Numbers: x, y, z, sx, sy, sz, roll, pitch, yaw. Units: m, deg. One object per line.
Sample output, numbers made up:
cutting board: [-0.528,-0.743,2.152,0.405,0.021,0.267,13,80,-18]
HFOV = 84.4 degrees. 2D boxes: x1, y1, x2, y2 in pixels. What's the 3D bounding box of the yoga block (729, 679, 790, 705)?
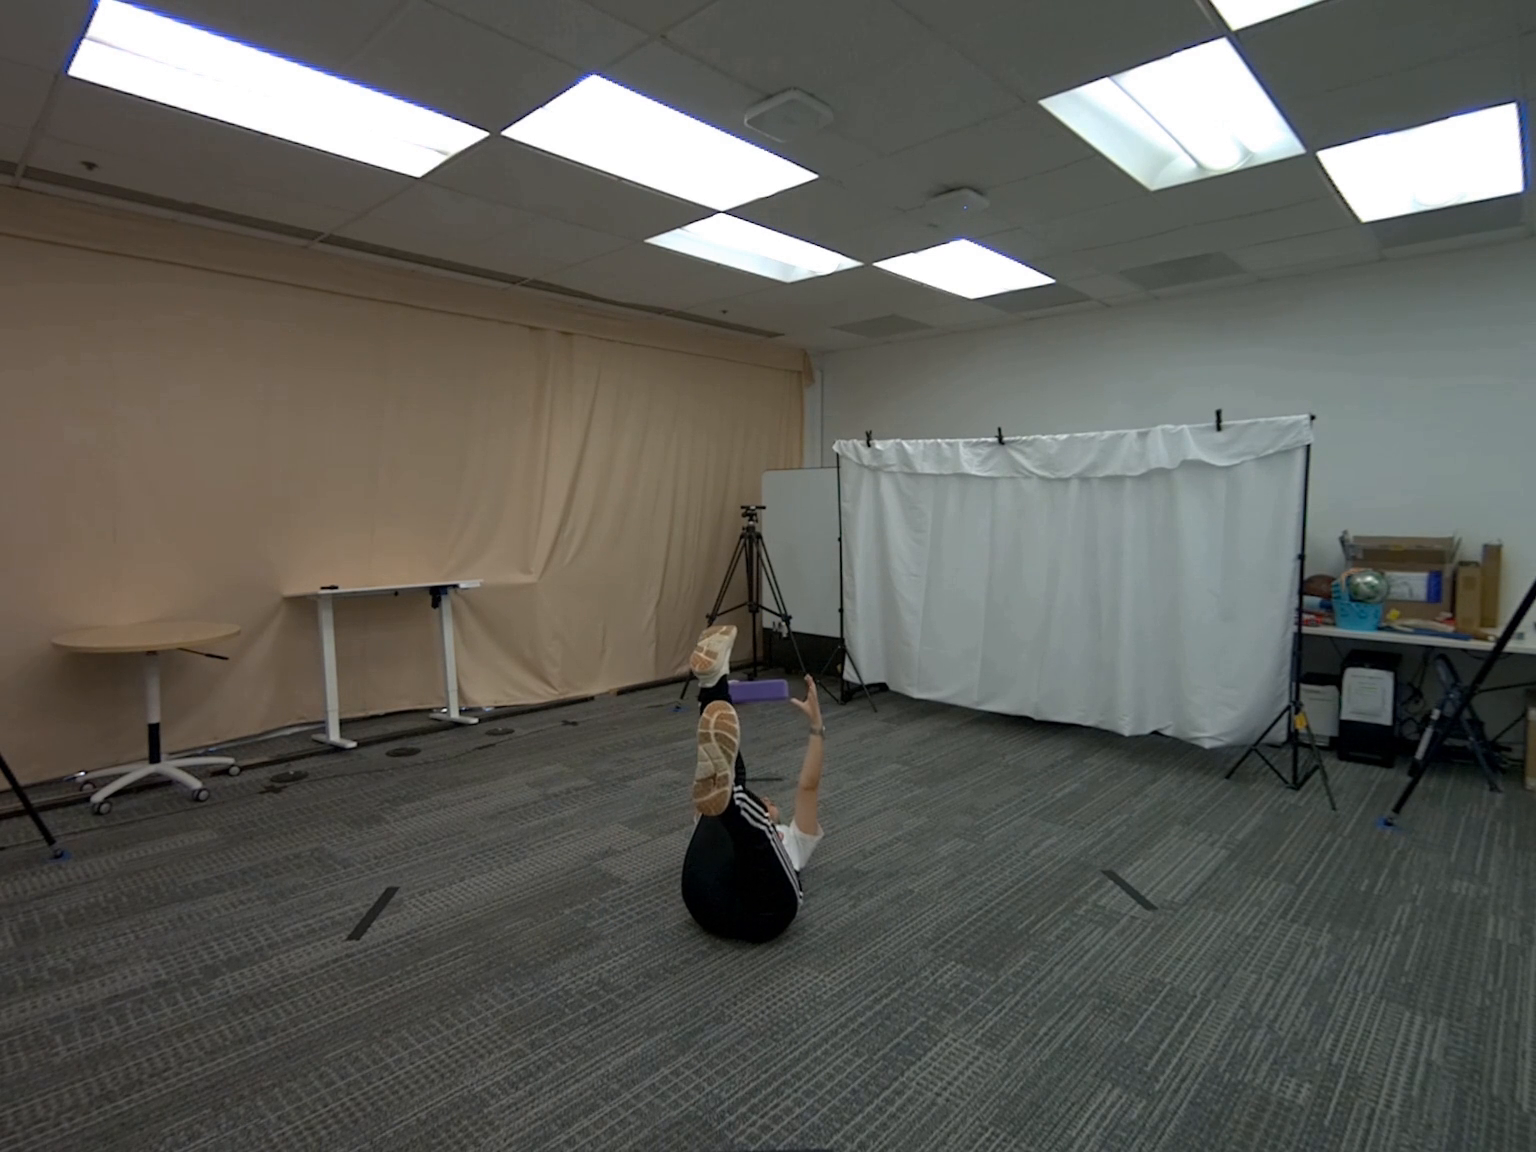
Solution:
yoga block: [-0.040,0.458,3.346,0.231,0.077,0.147,-4,-6,5]
